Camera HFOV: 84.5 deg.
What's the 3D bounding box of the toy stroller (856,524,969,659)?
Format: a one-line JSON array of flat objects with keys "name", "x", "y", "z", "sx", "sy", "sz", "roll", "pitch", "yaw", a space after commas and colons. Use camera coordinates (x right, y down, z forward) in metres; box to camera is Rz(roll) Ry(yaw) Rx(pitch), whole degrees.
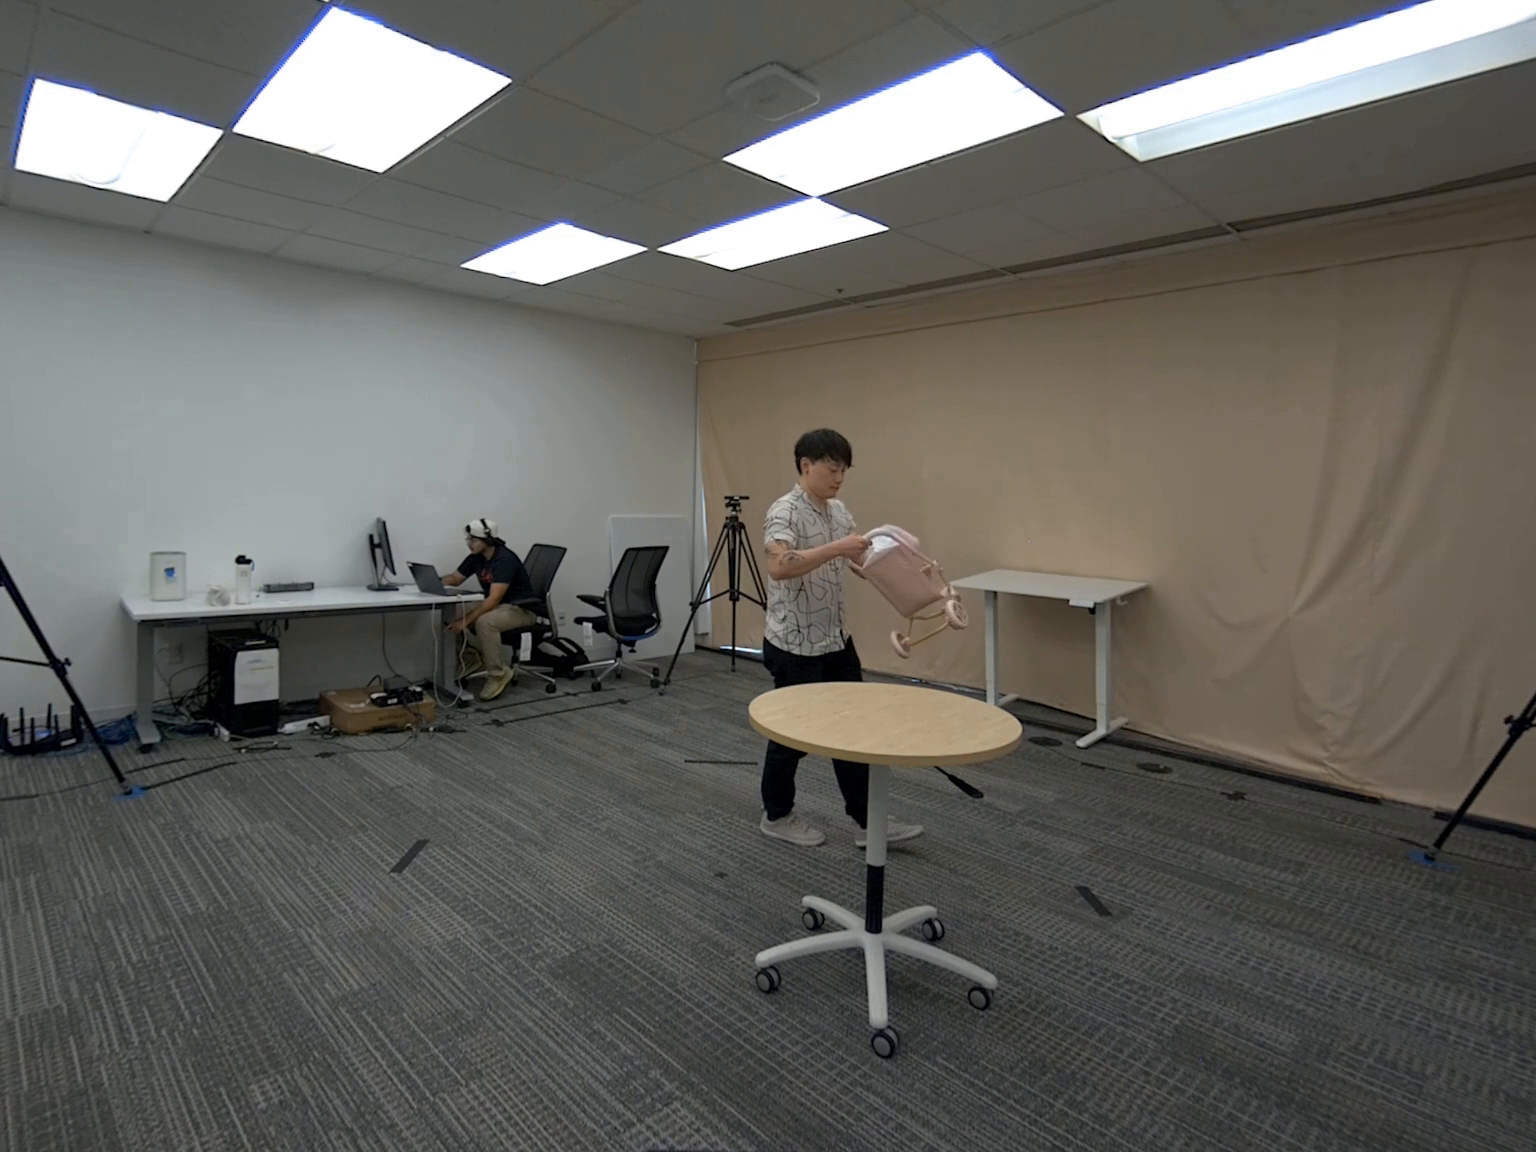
[{"name": "toy stroller", "x": 0.519, "y": 0.027, "z": 3.124, "sx": 0.283, "sy": 0.534, "sz": 0.340, "roll": -35, "pitch": 3, "yaw": 35}]
